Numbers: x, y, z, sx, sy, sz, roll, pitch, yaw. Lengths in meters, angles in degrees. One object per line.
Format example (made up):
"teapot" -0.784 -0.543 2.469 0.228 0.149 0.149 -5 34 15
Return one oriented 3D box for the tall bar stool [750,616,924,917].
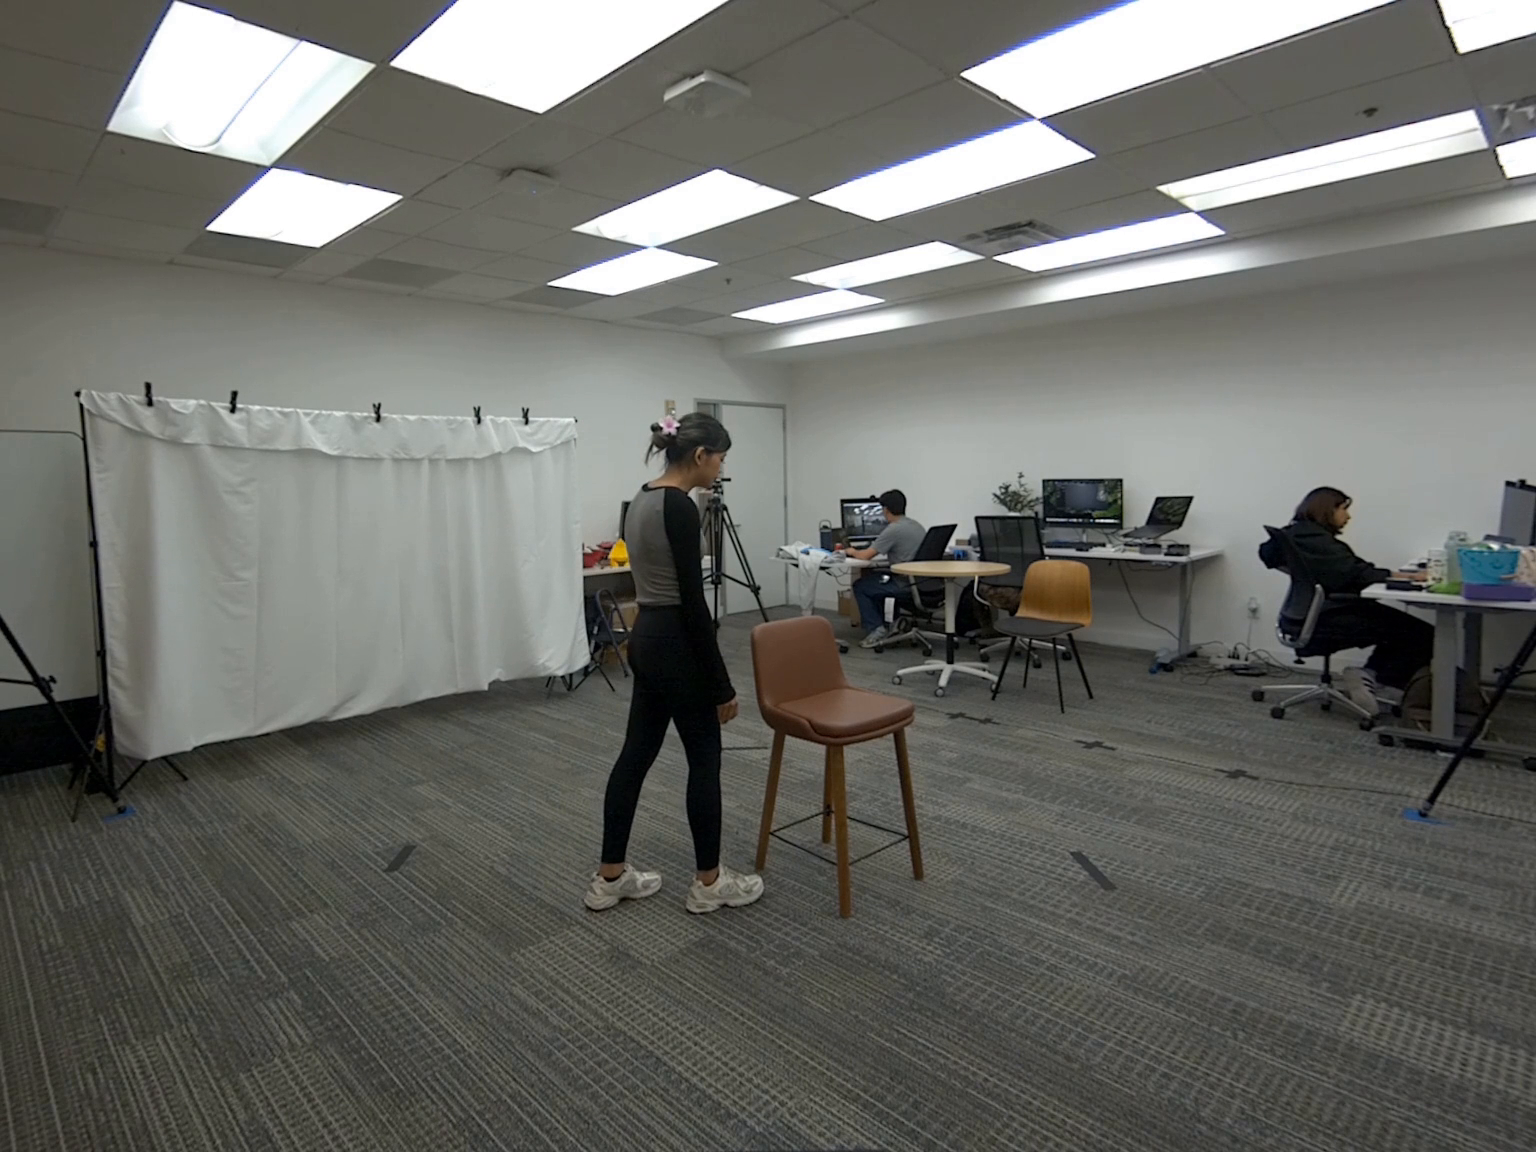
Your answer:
"tall bar stool" 0.237 0.616 2.986 0.444 0.888 0.481 -4 3 -42
